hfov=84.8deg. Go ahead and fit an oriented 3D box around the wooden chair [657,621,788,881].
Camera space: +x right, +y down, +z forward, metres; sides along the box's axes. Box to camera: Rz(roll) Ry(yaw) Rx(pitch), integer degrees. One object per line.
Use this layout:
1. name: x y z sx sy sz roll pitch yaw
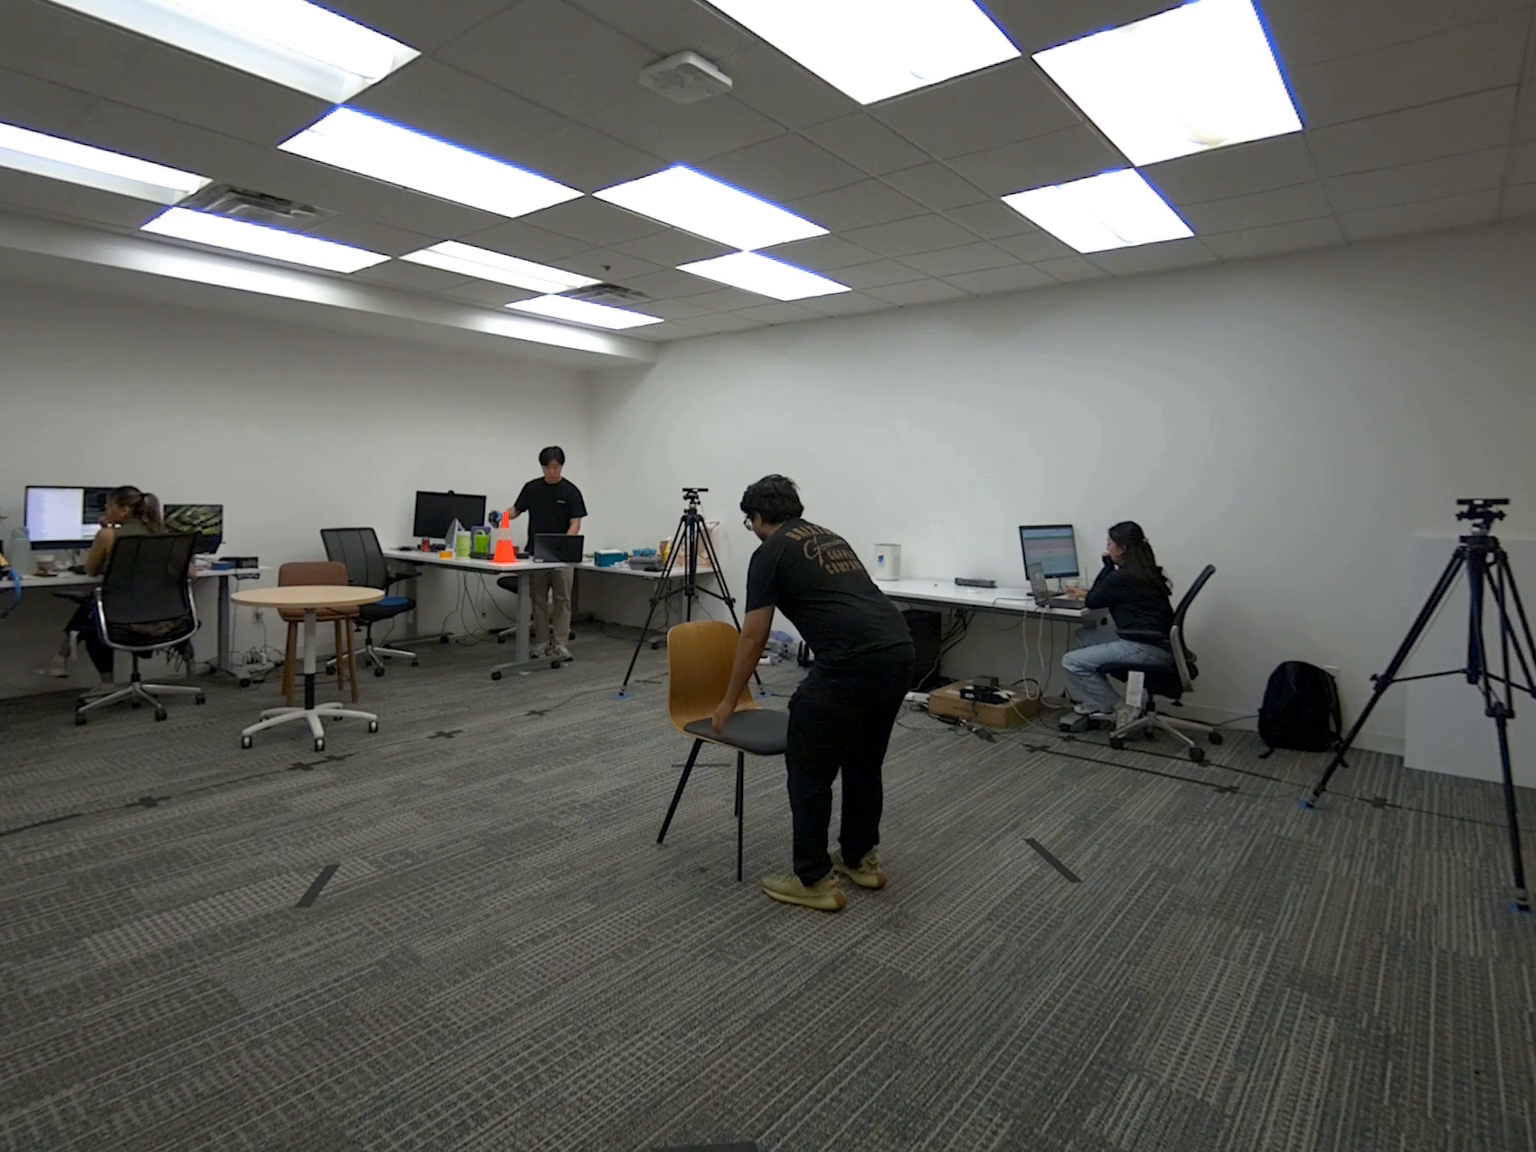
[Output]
1. wooden chair: -0.113 0.623 3.299 0.539 0.878 0.463 -2 0 44
